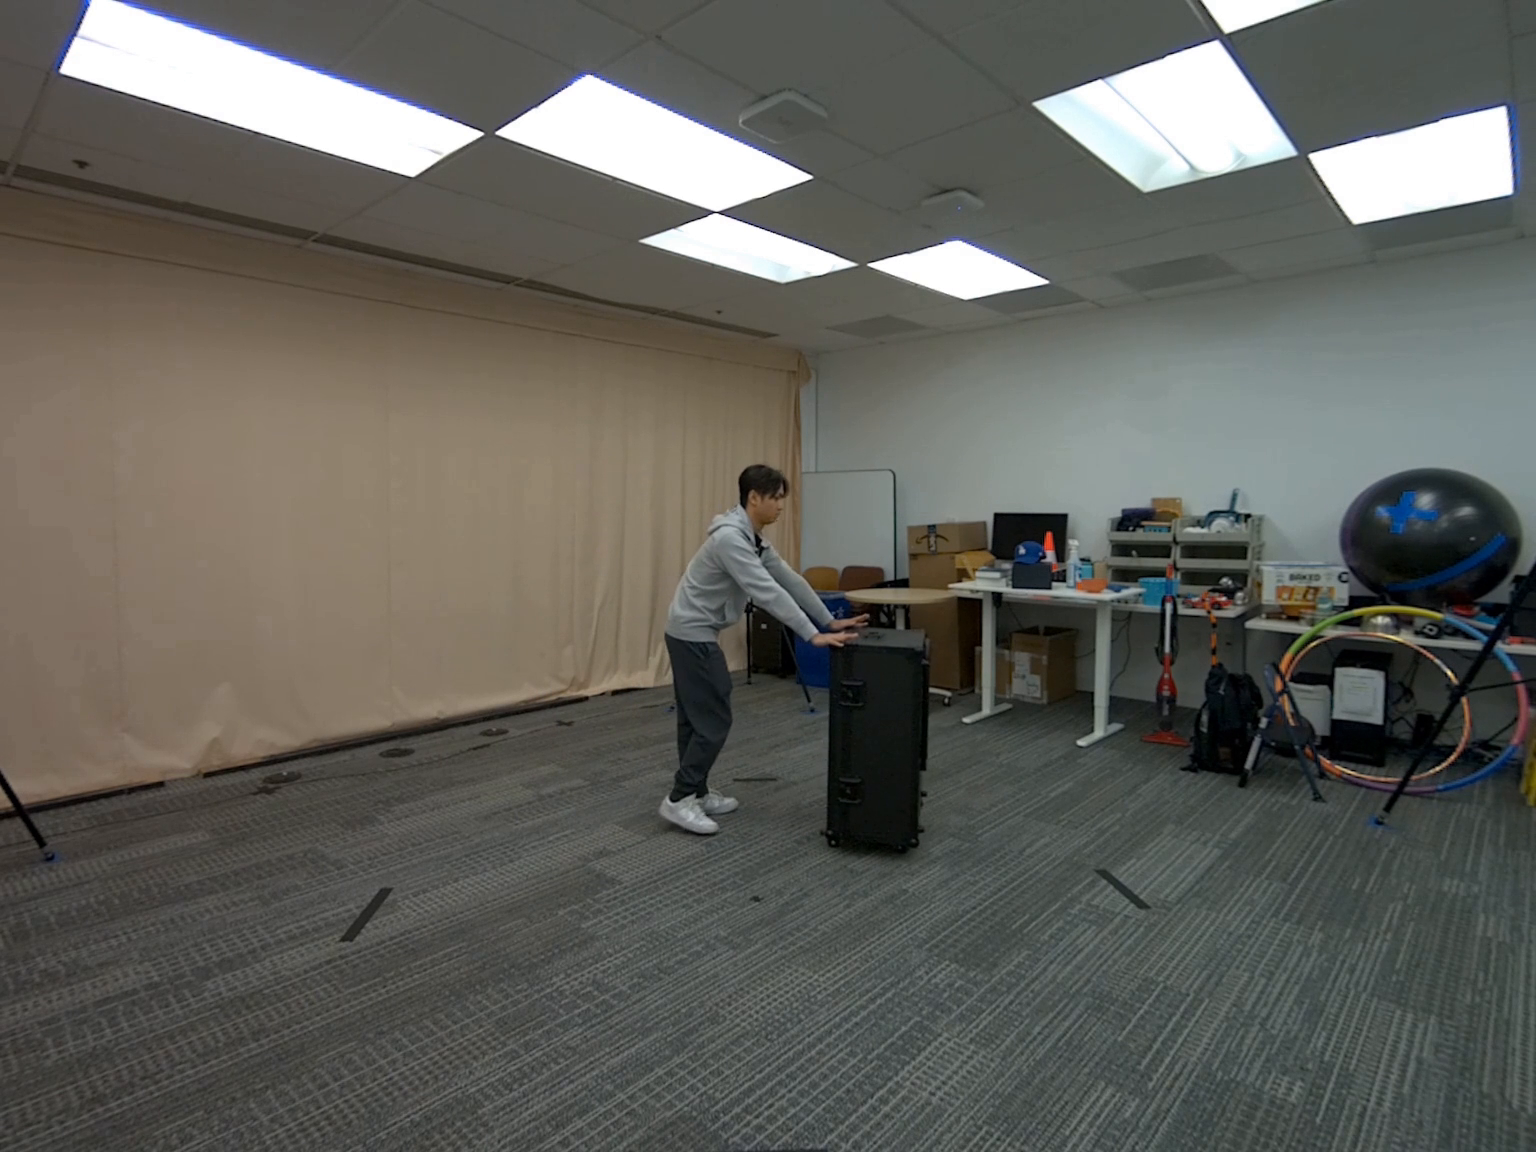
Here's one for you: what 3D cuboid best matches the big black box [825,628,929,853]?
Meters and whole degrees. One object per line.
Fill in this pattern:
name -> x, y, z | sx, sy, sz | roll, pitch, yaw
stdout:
big black box -> 0.478, 0.677, 3.514 | 0.403, 0.859, 0.513 | 2, 4, 15
